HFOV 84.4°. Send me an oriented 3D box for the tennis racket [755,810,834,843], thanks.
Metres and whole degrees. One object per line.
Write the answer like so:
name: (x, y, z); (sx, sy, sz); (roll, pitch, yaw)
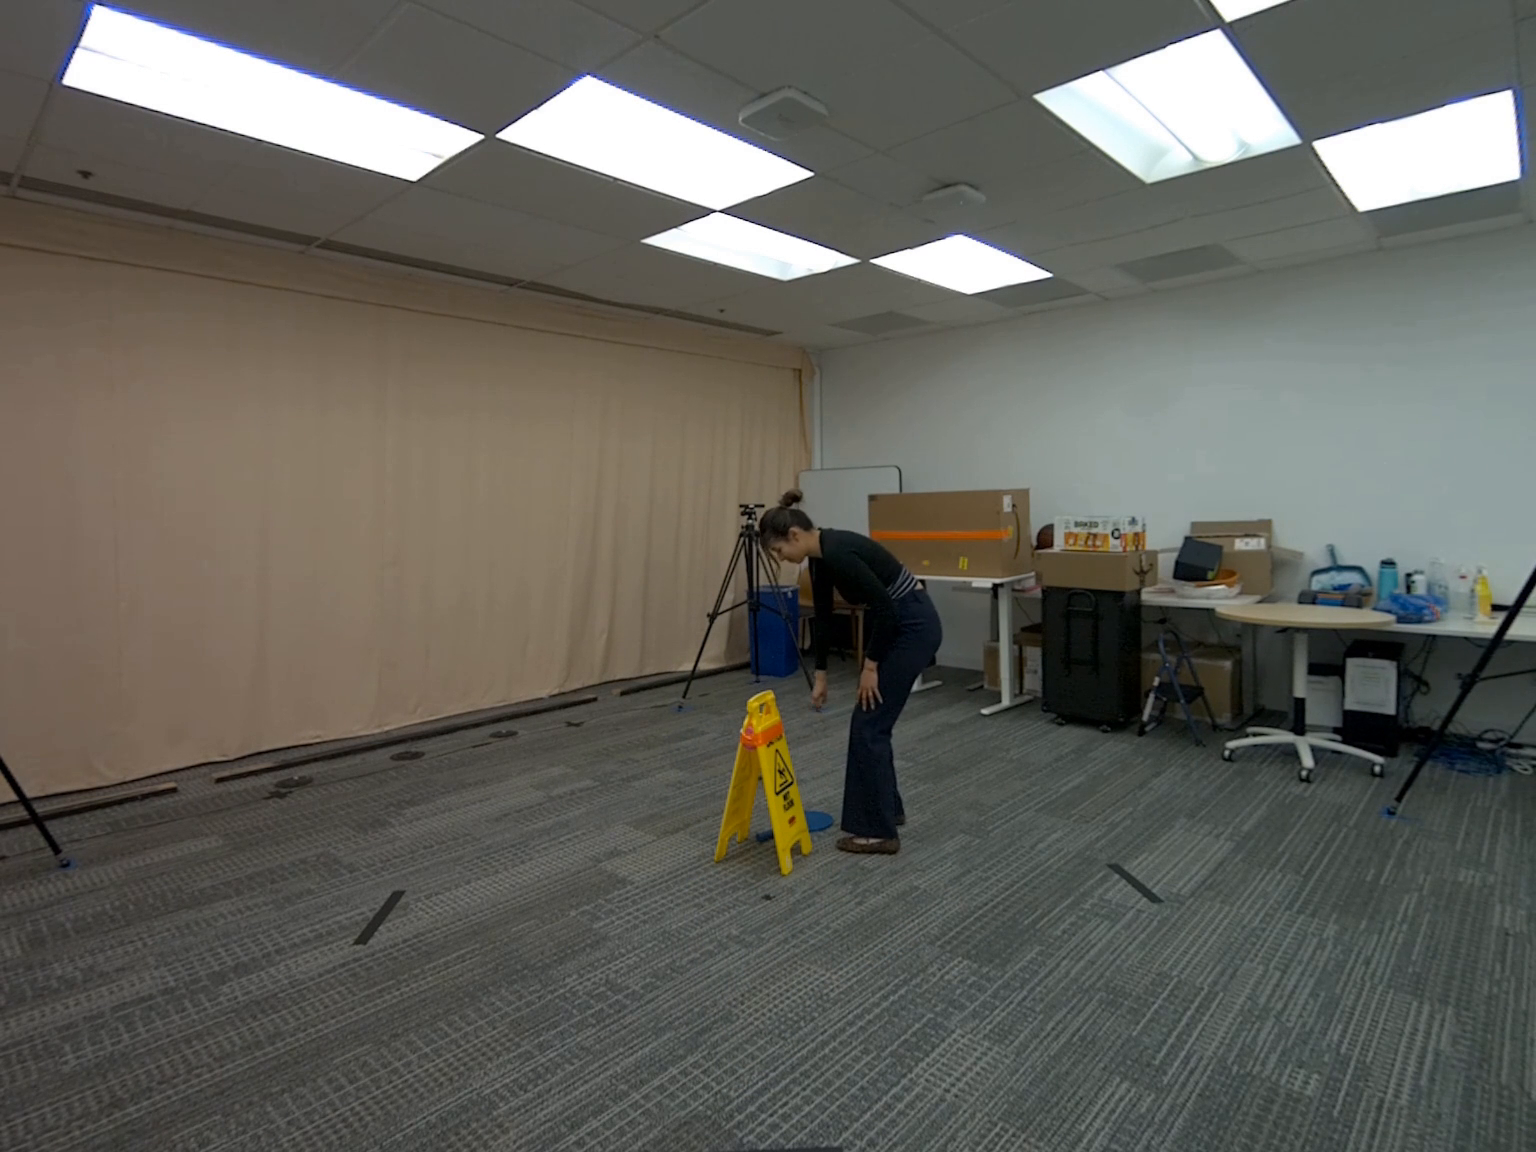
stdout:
tennis racket: (0.112, 1.068, 3.604); (0.419, 0.032, 0.221); (-3, 5, -44)
